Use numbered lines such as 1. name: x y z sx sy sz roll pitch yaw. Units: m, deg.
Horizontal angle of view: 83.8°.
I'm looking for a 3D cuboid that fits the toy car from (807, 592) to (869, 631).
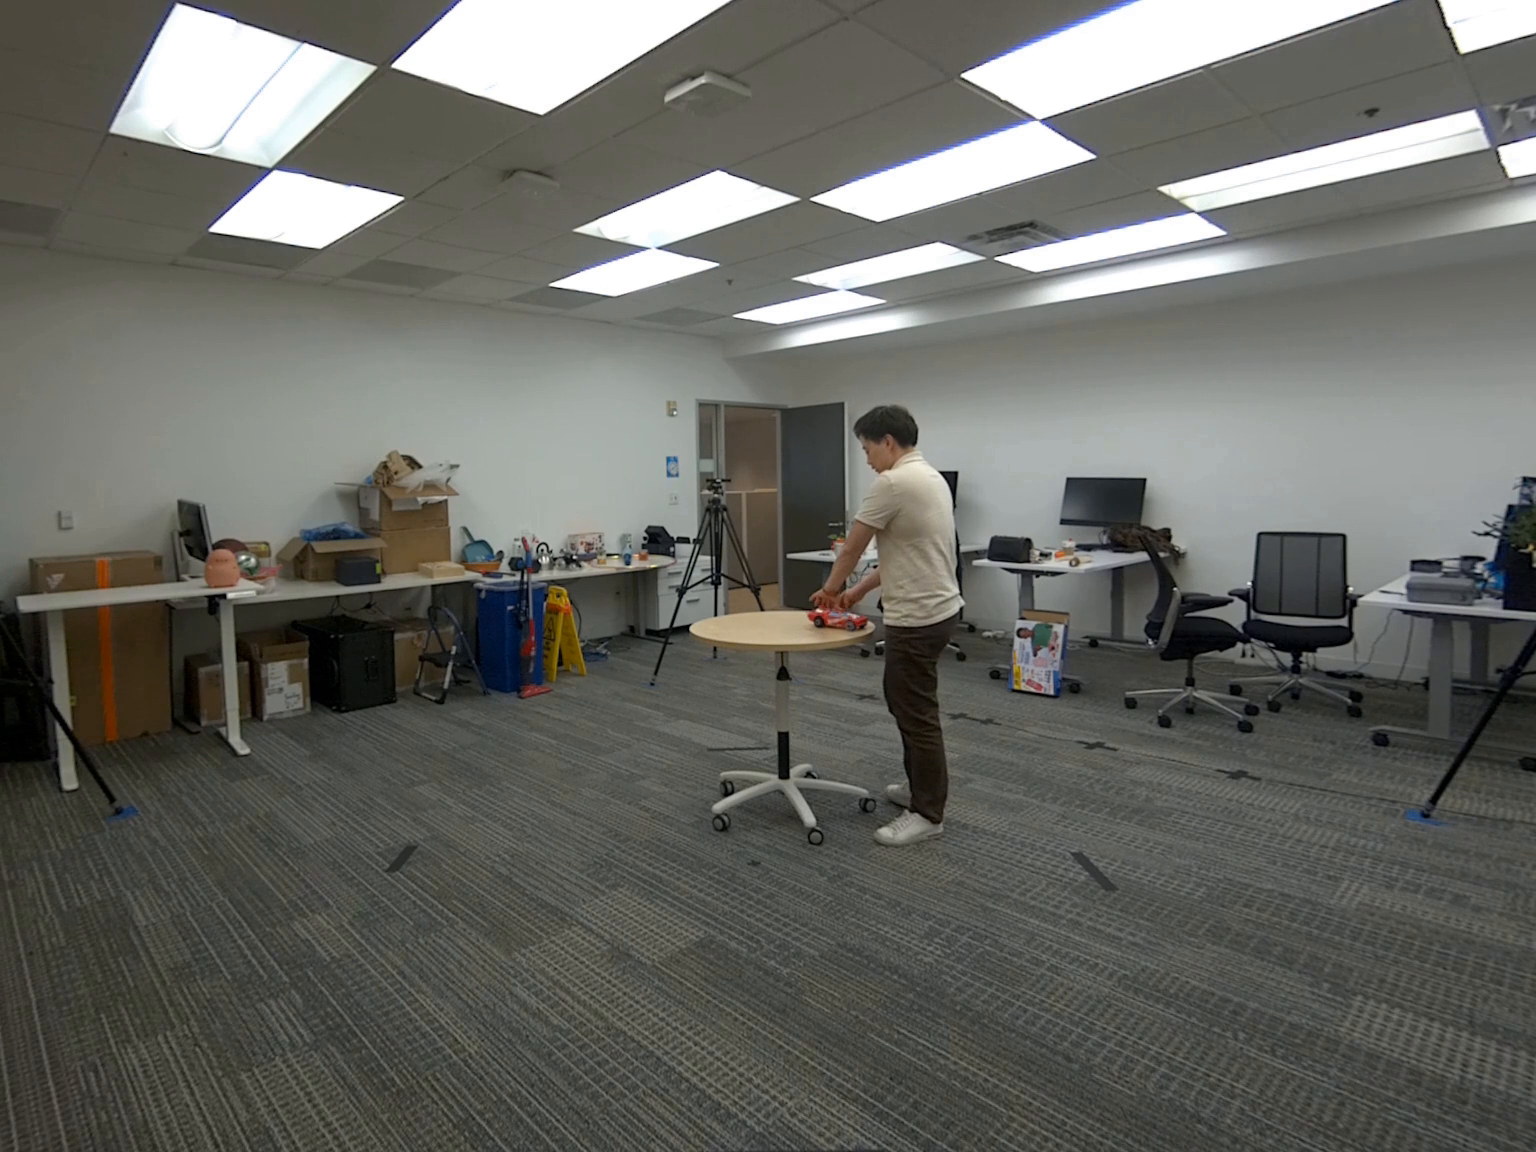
1. toy car: 0.285 0.179 3.498 0.263 0.082 0.127 16 13 35
